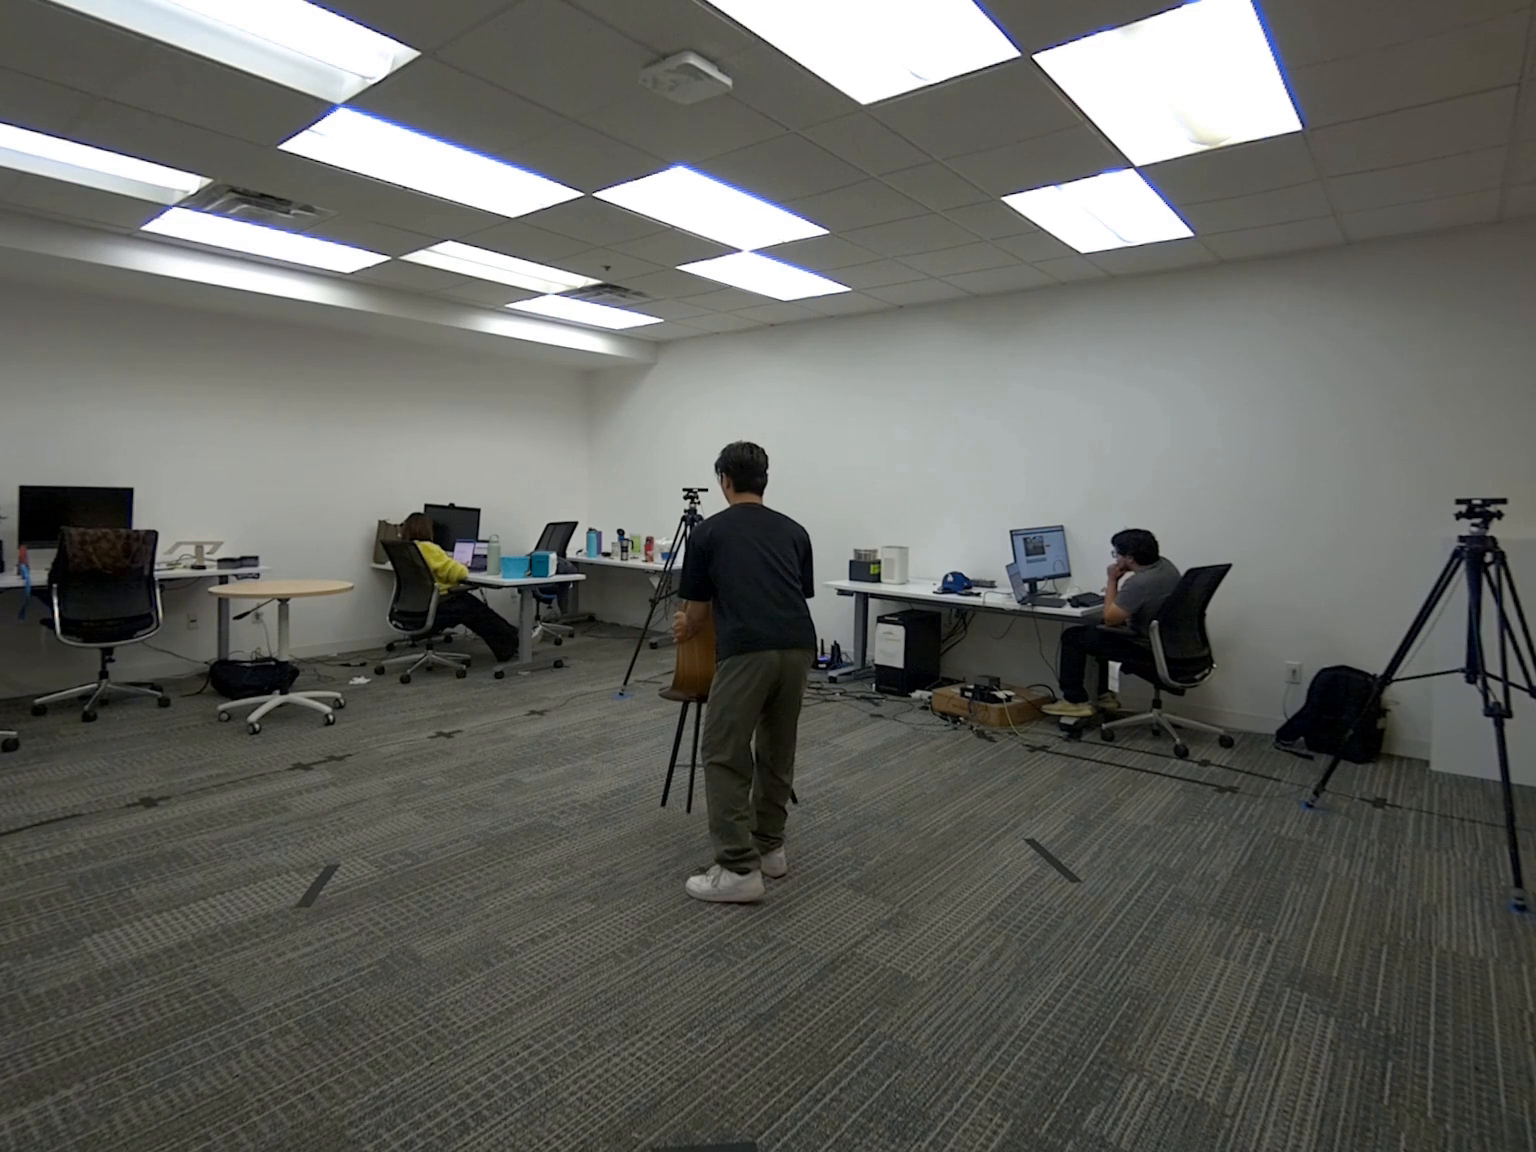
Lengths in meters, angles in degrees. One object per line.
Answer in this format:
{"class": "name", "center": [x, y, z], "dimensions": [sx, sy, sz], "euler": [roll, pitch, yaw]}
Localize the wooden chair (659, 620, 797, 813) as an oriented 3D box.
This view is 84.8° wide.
{"class": "wooden chair", "center": [-0.221, 0.517, 3.564], "dimensions": [0.470, 0.886, 0.527], "euler": [0, -9, -18]}
